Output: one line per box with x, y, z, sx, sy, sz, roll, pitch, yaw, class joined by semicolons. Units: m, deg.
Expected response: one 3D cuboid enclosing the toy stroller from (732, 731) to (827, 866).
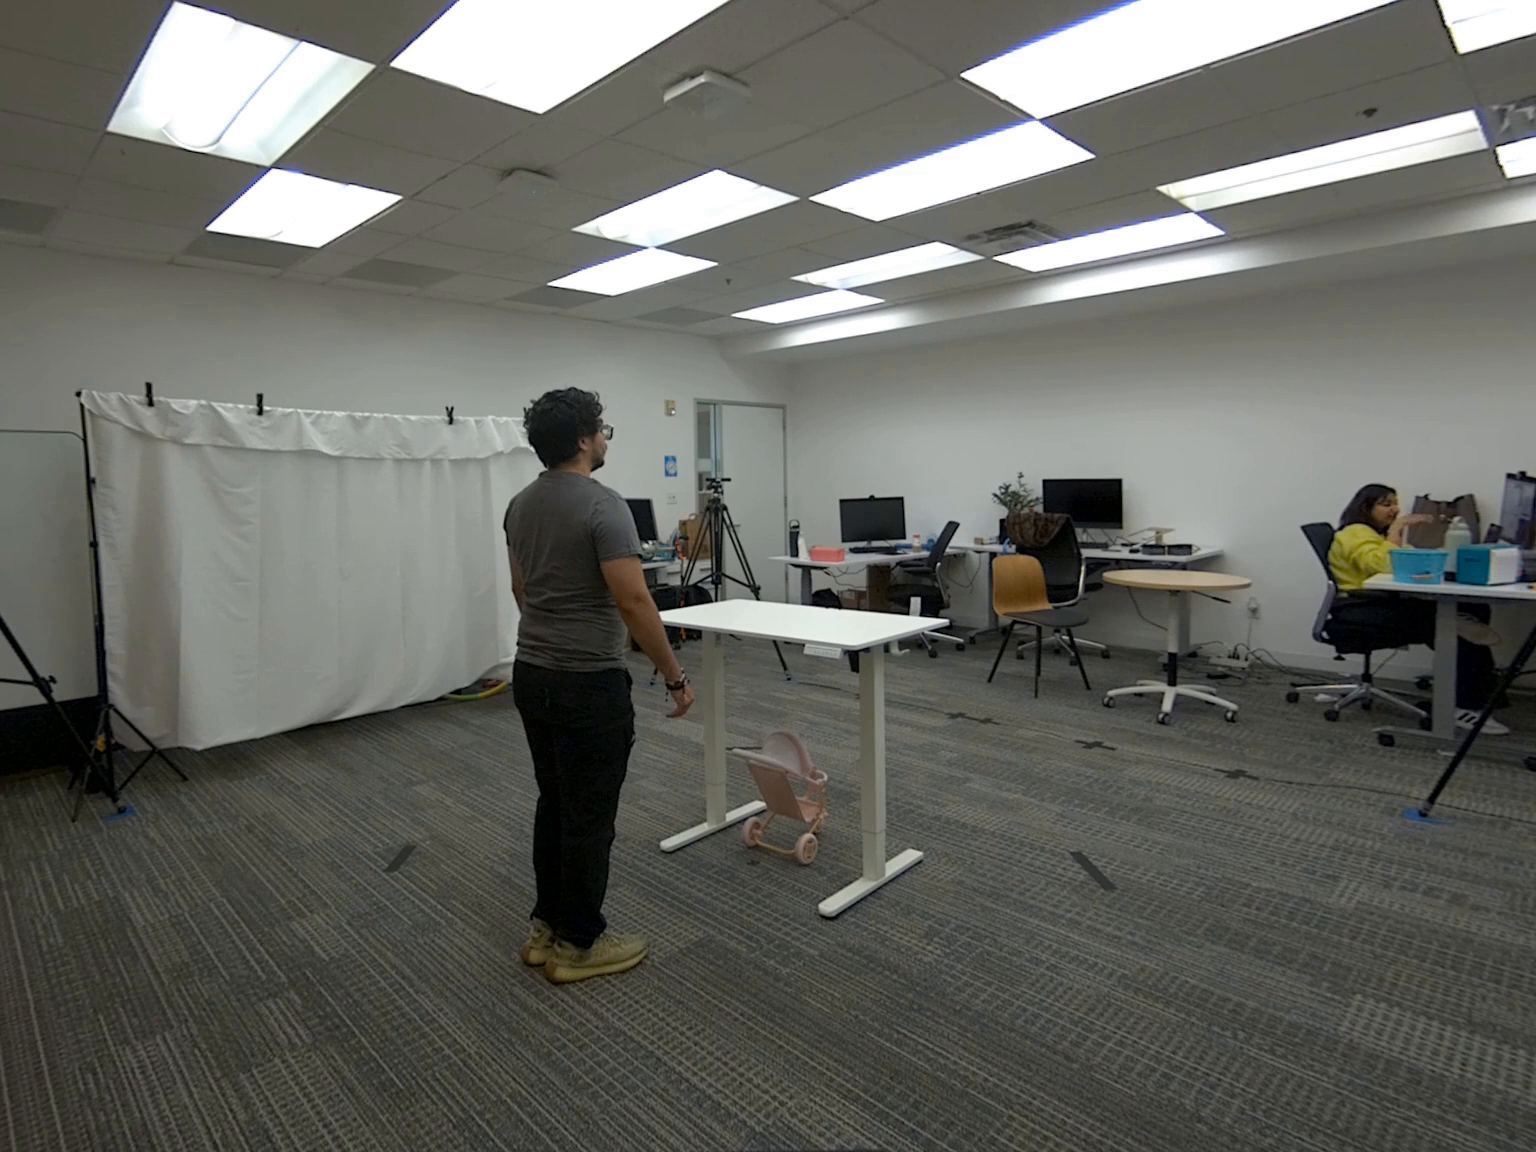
0.079;0.809;3.205;0.290;0.526;0.337;4;23;43;toy stroller
